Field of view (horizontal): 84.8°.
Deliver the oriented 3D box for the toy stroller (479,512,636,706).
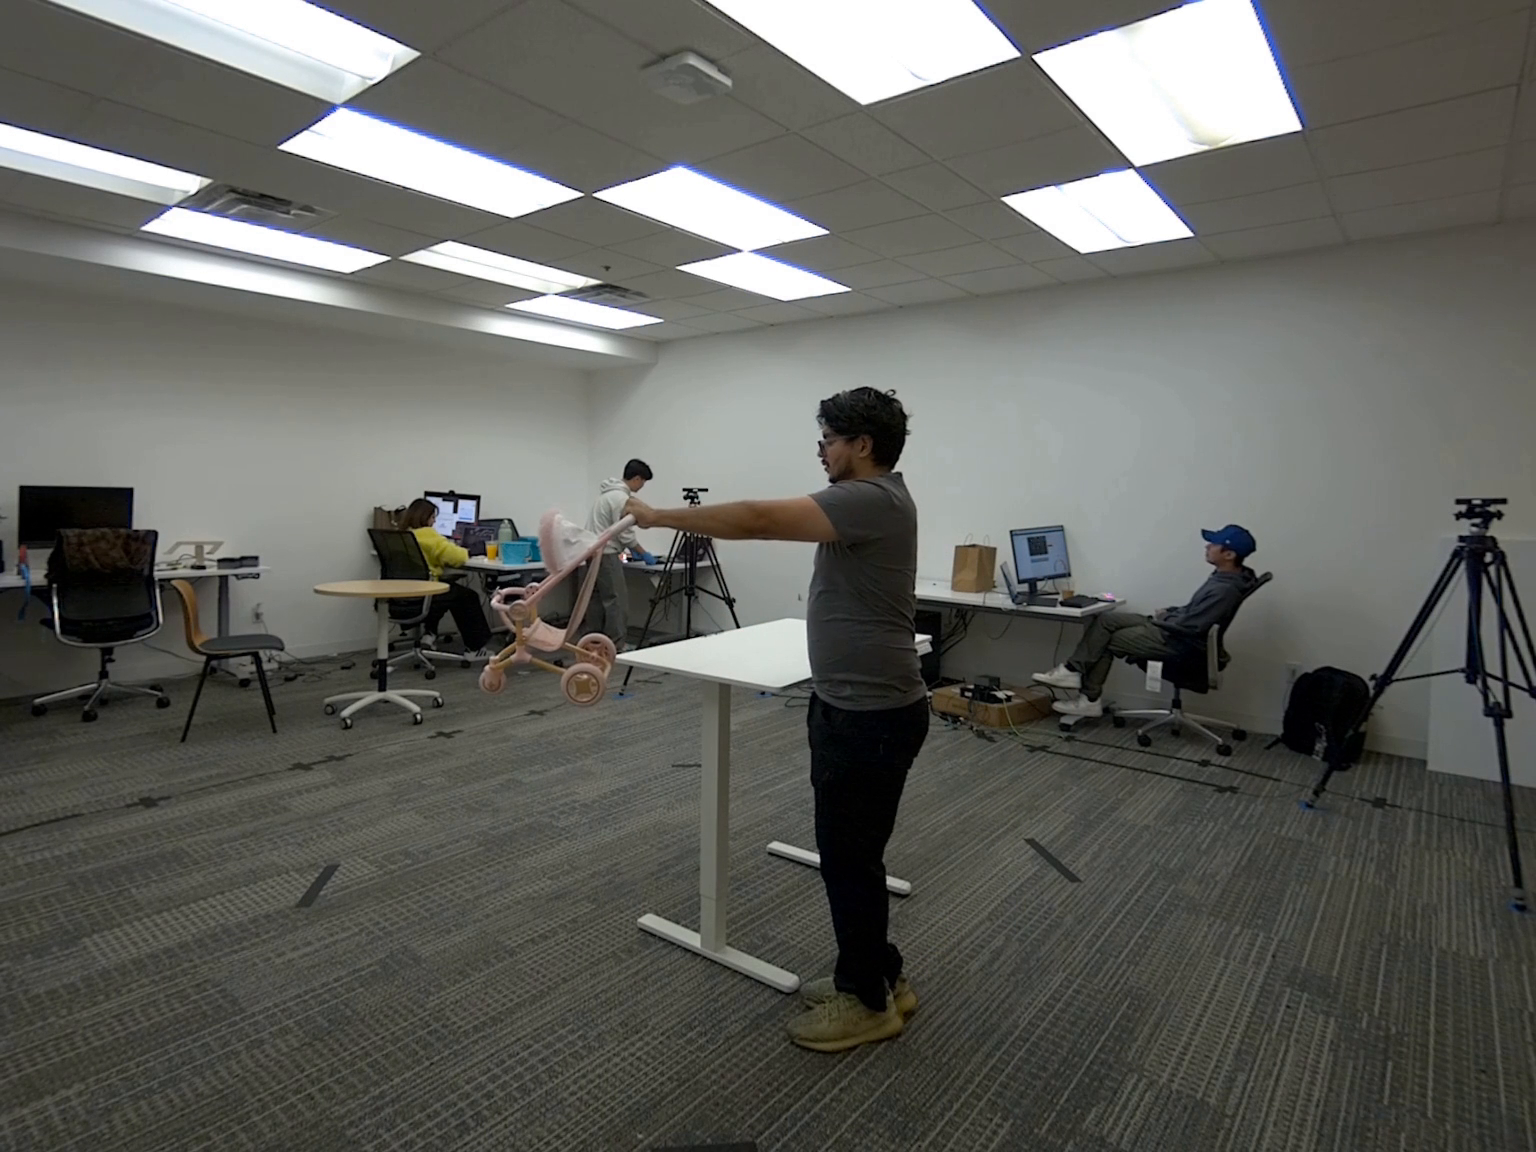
[{"bbox_3d":[-0.551,0.069,2.143,0.342,0.531,0.283,10,9,1],"label":"toy stroller"}]
